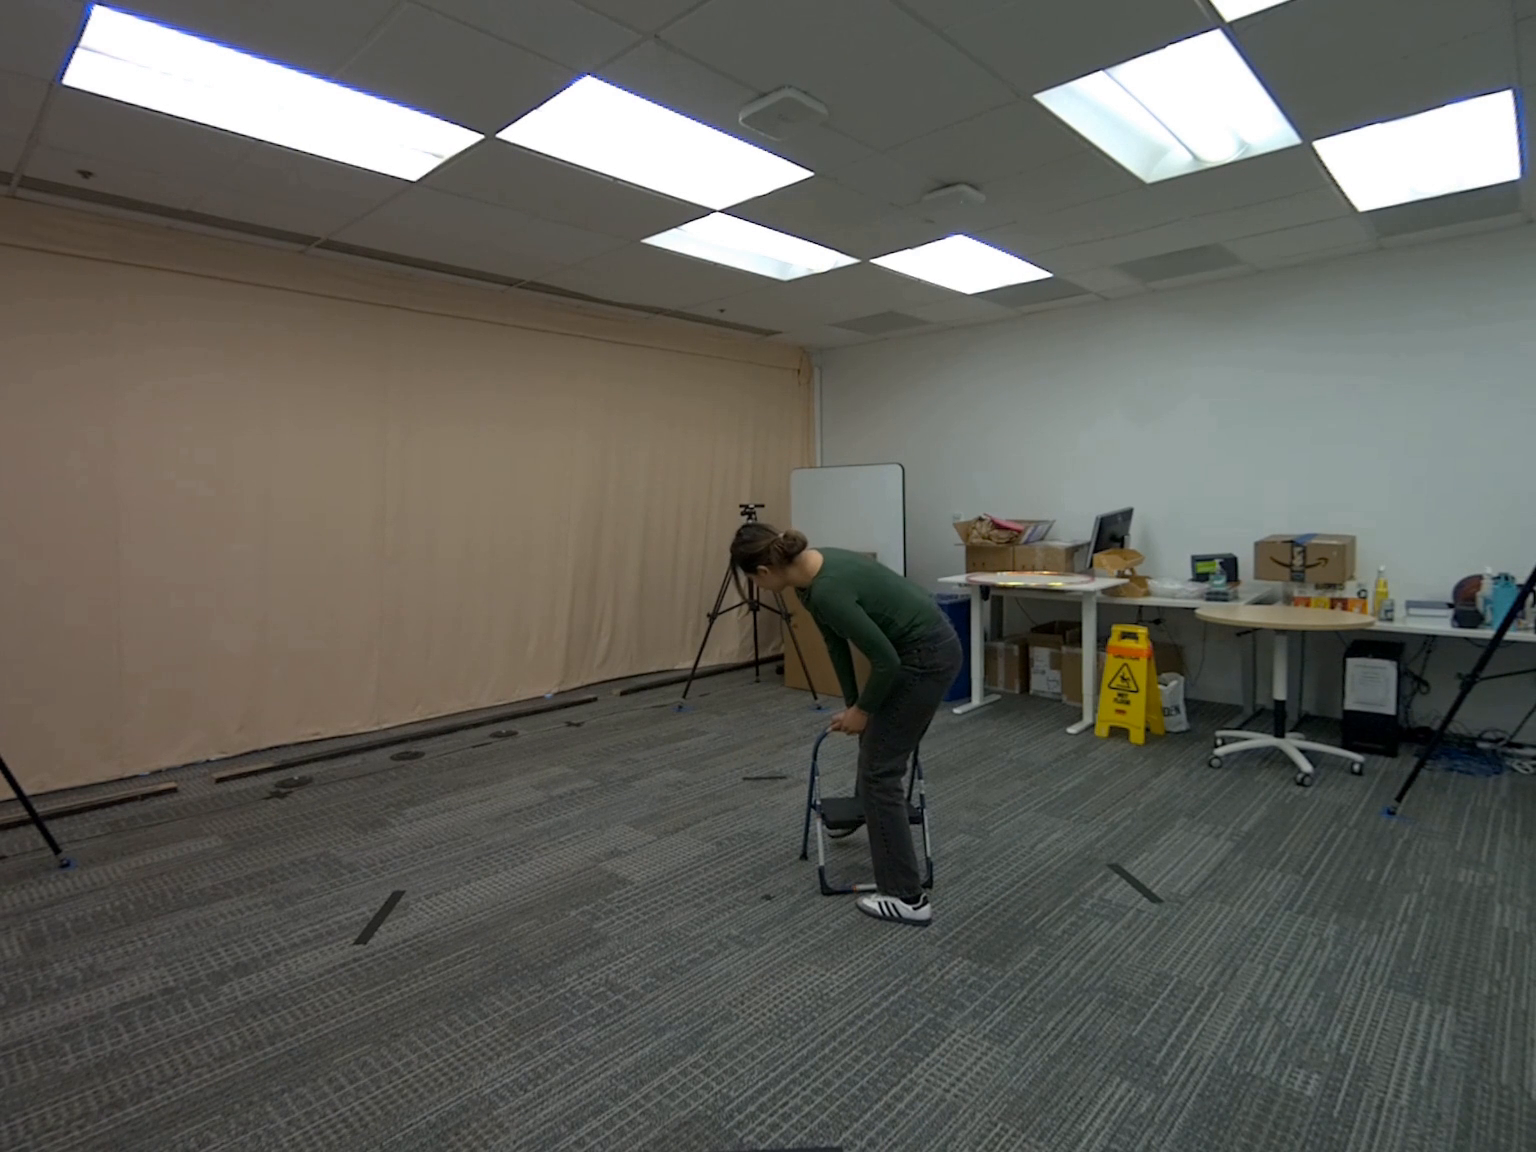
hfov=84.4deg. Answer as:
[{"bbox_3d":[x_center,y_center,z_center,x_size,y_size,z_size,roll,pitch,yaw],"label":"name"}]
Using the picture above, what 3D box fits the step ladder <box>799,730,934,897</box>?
[{"bbox_3d":[0.362,0.818,3.157,0.427,0.605,0.353,0,3,-8],"label":"step ladder"}]
